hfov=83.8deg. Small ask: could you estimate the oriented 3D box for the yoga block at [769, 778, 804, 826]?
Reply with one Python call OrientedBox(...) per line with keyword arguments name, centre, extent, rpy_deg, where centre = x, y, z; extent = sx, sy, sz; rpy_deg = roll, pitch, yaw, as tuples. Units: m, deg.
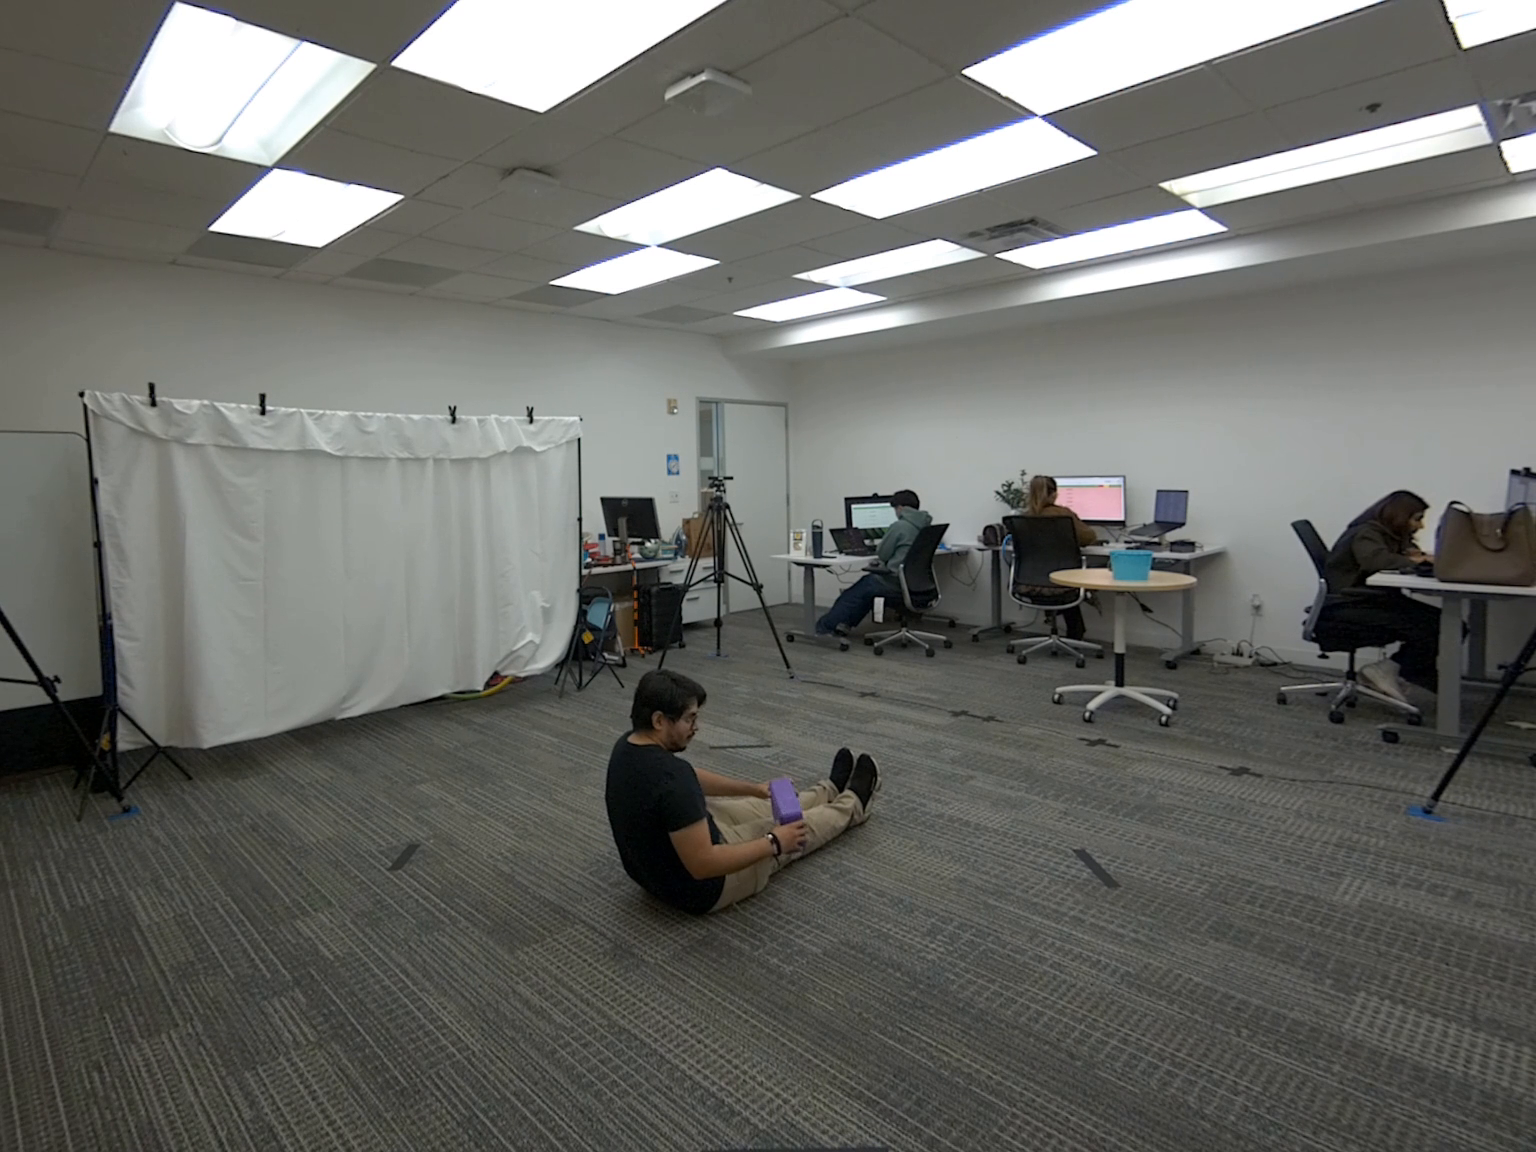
OrientedBox(name="yoga block", centre=(0.062, 0.795, 2.846), extent=(0.076, 0.147, 0.234), rpy_deg=(-7, 13, -9))
